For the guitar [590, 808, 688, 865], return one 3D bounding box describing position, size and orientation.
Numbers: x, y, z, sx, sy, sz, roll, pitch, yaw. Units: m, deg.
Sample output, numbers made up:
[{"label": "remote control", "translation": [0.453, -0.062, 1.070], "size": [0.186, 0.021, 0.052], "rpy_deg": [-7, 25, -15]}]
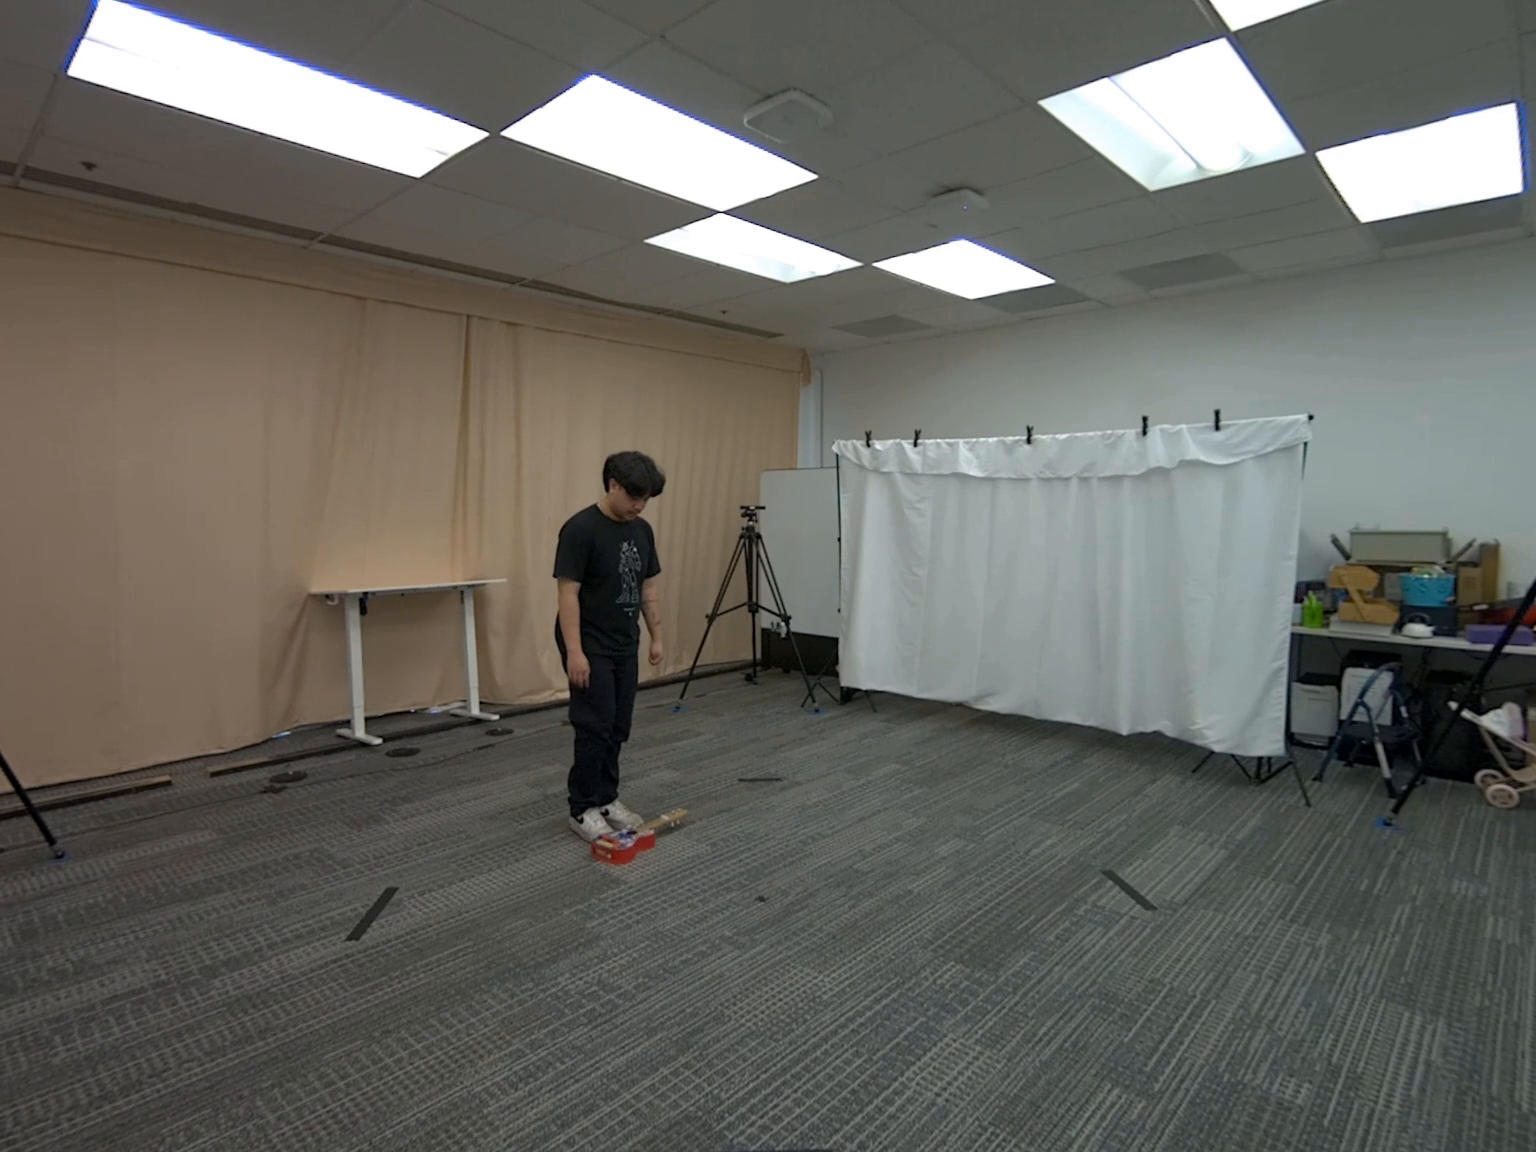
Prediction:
[{"label": "guitar", "translation": [-0.493, 1.073, 3.482], "size": [0.483, 0.070, 0.199], "rpy_deg": [-6, 7, -43]}]
